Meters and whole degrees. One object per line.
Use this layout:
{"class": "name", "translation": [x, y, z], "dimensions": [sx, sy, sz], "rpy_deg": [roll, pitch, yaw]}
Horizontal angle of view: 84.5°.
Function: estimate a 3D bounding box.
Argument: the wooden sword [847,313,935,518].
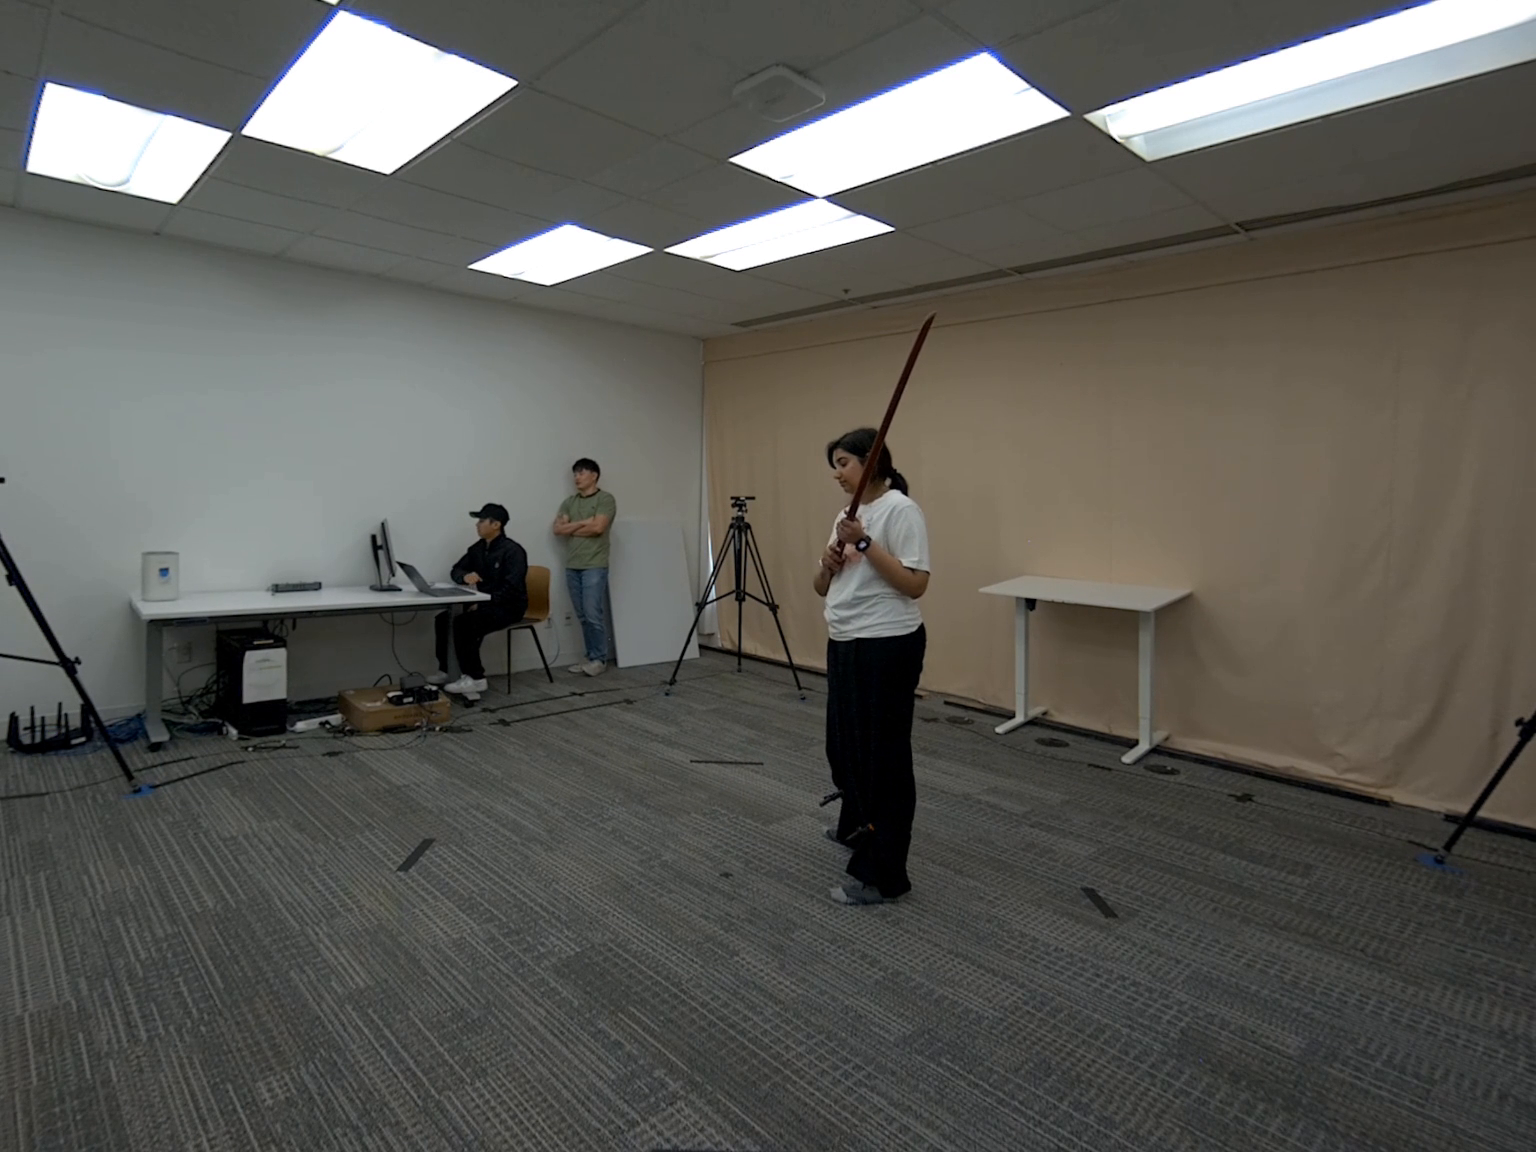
{"class": "wooden sword", "translation": [0.336, -0.393, 2.689], "dimensions": [0.050, 1.011, 0.025], "rpy_deg": [-4, 45, -27]}
